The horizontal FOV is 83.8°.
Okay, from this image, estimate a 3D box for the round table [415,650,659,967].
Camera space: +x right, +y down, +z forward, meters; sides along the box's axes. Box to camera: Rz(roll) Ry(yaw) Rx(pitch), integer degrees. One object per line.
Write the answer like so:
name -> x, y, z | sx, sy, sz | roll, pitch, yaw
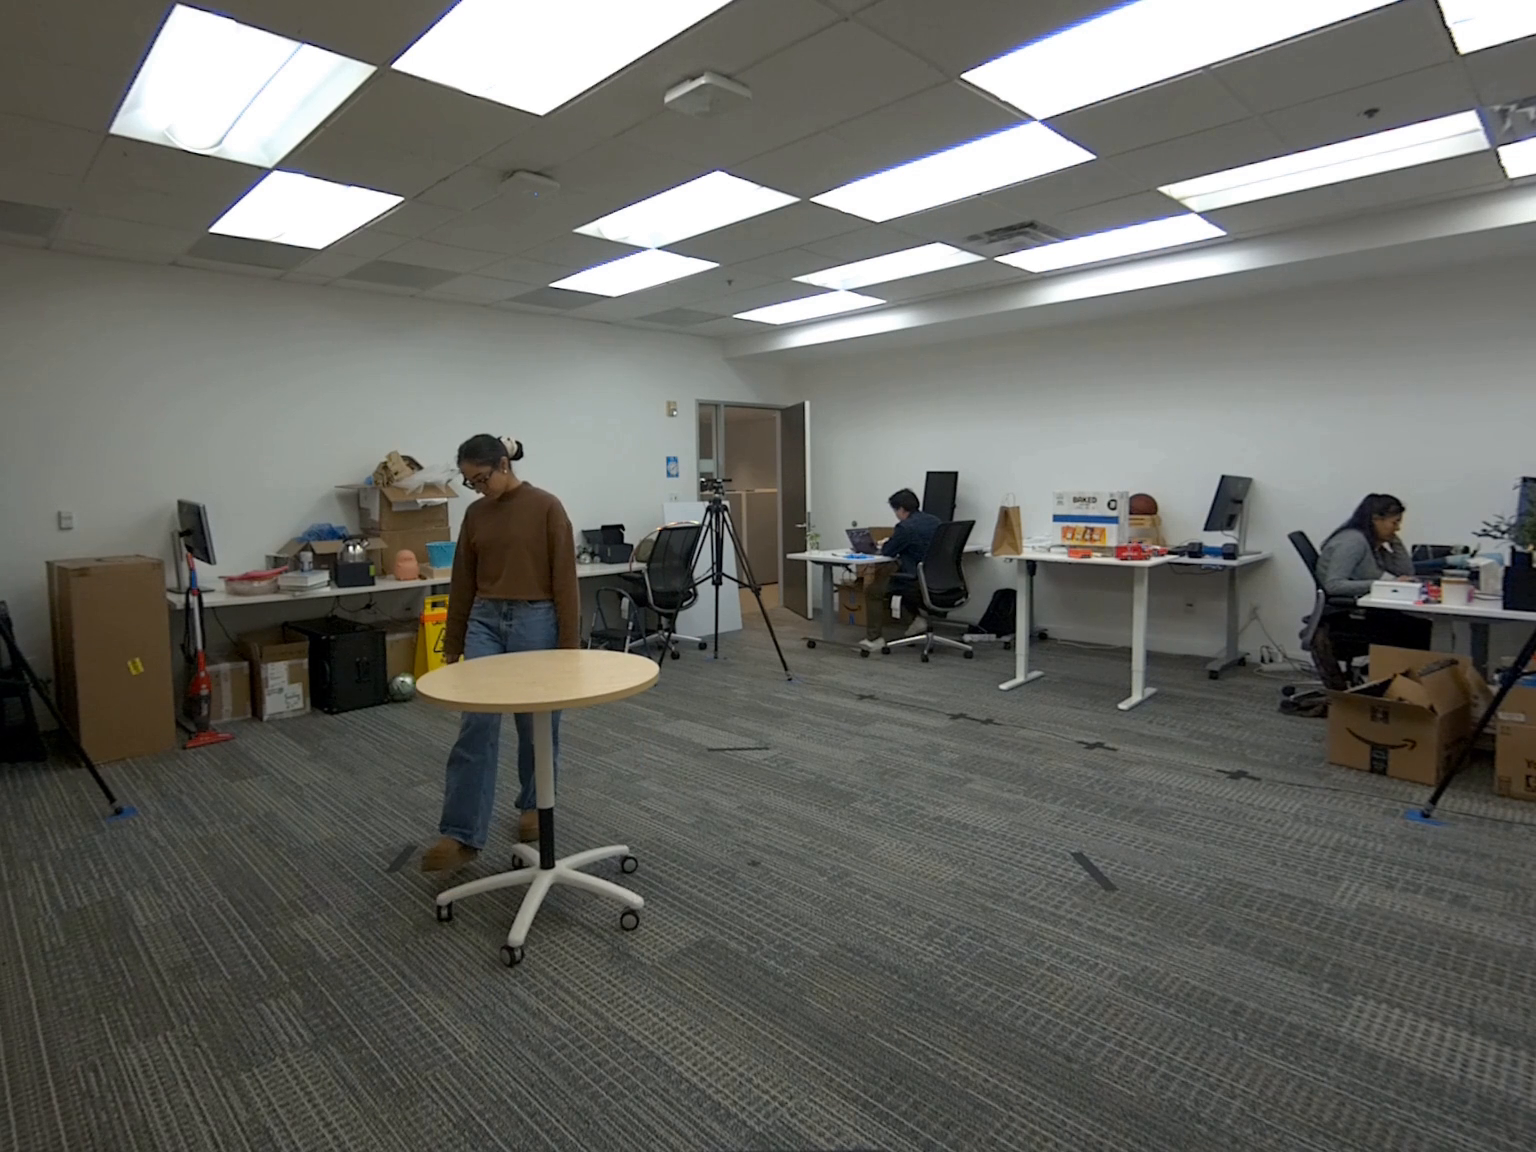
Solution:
round table -> -0.721, 0.705, 2.790 | 0.763, 0.791, 0.768 | -1, 5, -2
